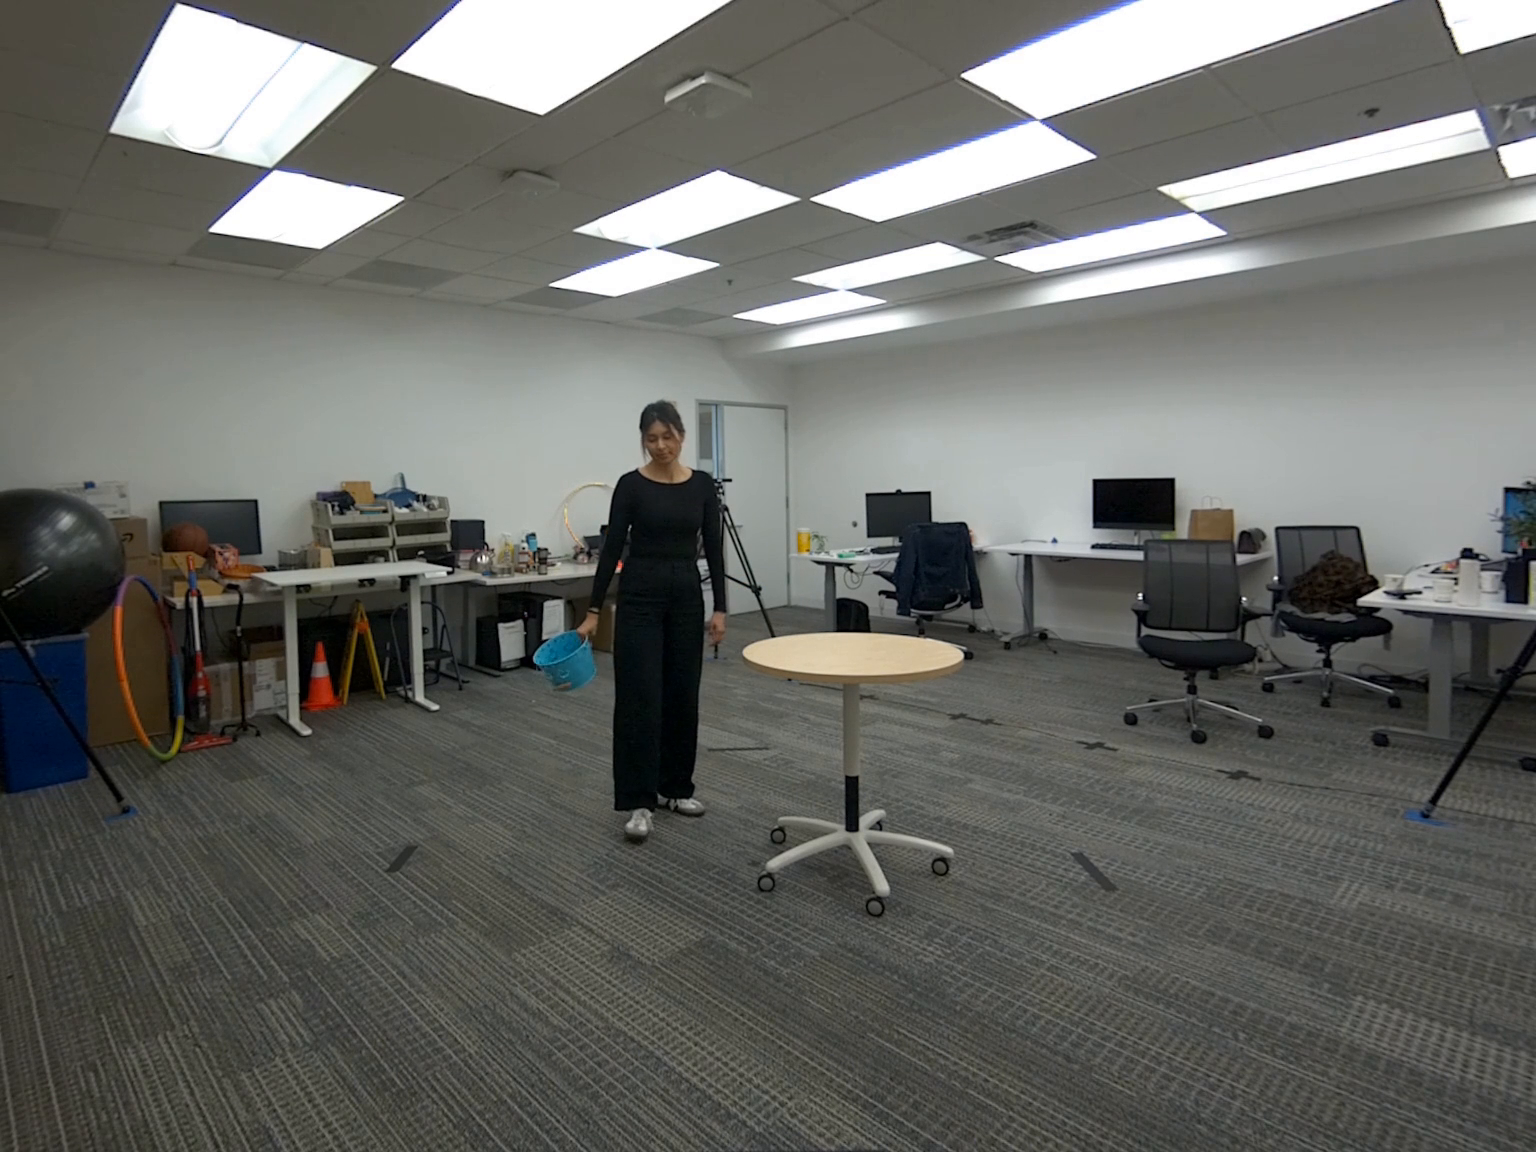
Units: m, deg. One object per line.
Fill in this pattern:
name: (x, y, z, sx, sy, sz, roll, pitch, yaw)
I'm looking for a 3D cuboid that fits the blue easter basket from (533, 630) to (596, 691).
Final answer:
blue easter basket: (-0.786, 0.336, 3.393, 0.244, 0.152, 0.248, -18, 22, 6)
